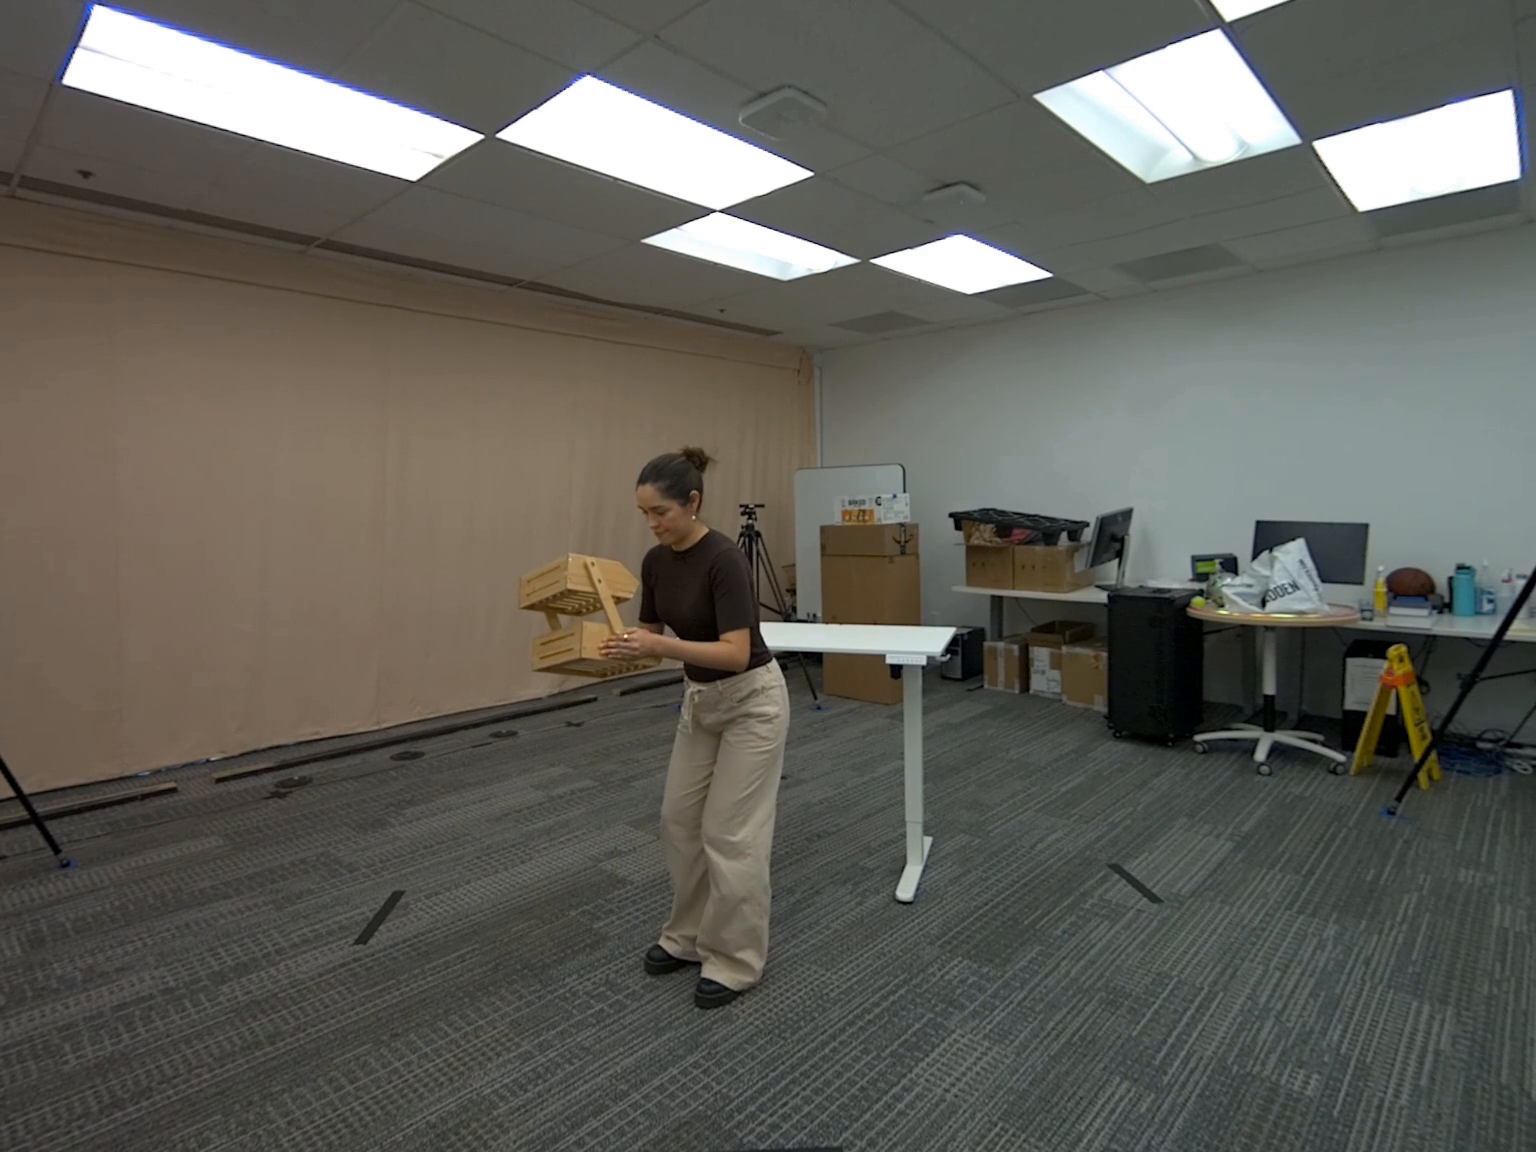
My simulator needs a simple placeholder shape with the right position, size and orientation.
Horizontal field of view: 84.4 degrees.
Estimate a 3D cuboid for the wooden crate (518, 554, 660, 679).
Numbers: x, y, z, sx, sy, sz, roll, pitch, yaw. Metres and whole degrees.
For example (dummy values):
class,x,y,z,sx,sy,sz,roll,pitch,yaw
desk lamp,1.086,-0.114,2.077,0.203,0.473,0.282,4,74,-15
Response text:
class,x,y,z,sx,sy,sz,roll,pitch,yaw
wooden crate,-0.478,0.119,2.284,0.292,0.276,0.332,12,-20,-36
